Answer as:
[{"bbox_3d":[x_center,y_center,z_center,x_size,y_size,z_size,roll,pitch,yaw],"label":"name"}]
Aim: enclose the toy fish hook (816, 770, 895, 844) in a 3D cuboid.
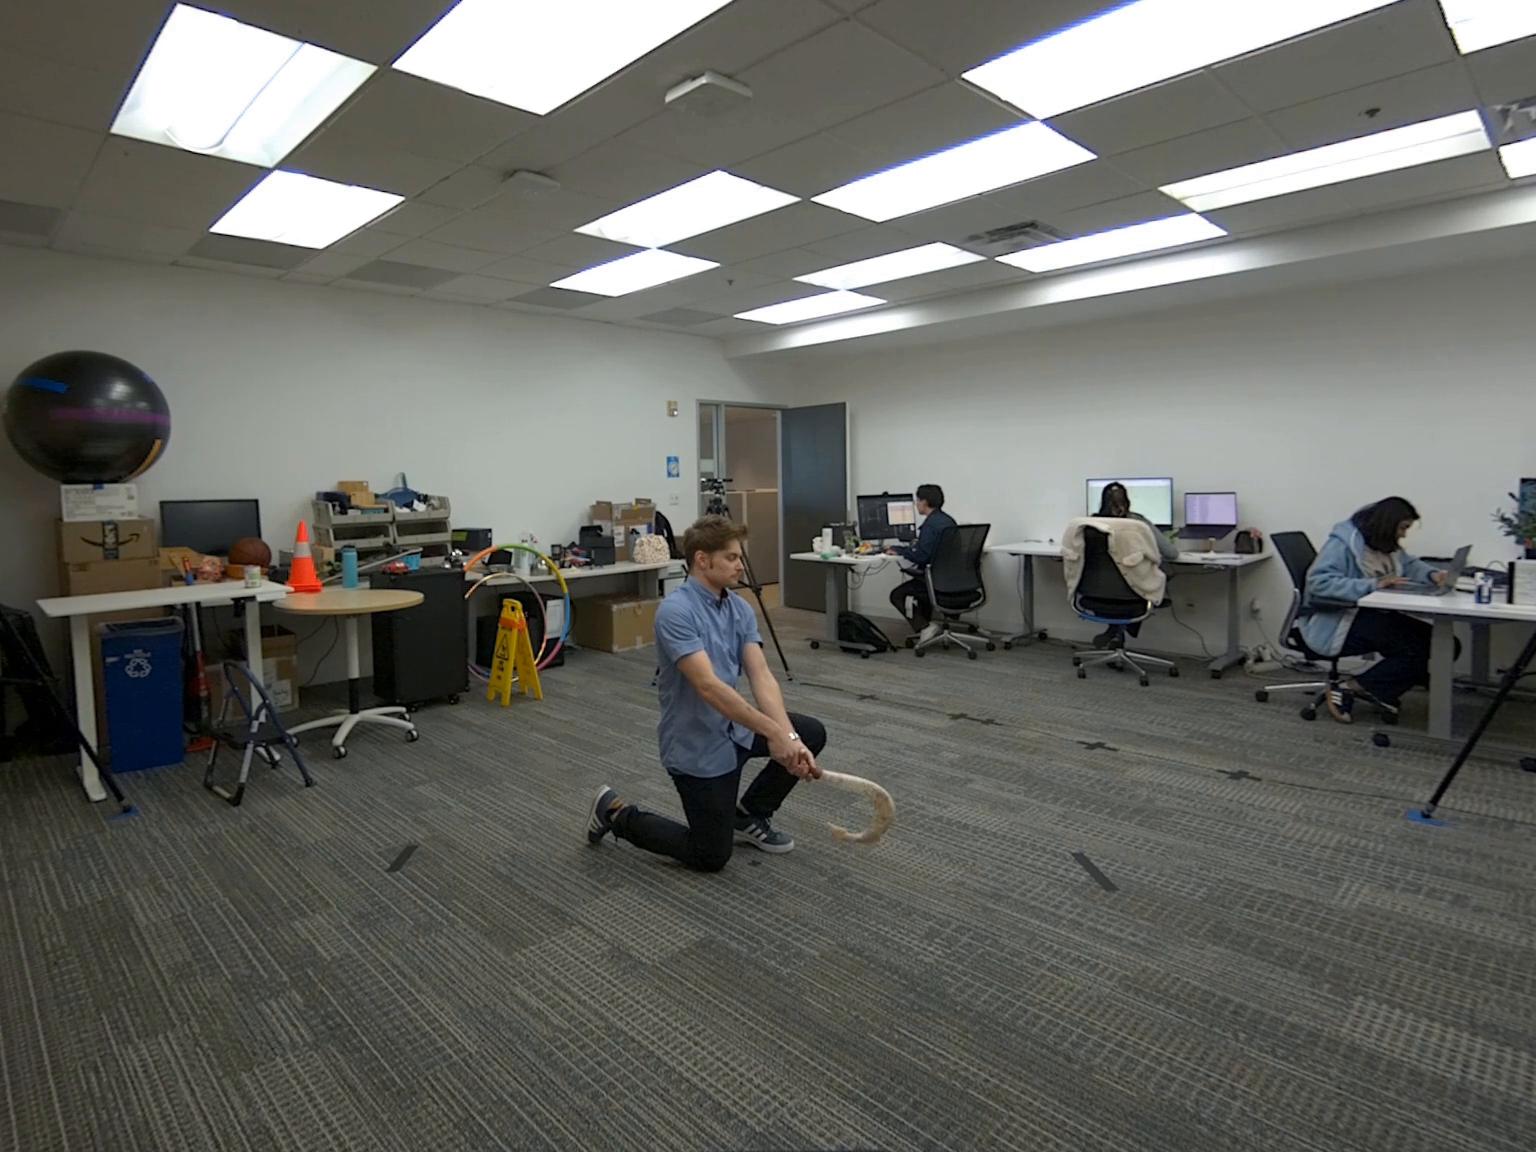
[{"bbox_3d":[0.216,0.700,2.851,0.505,0.225,0.048,30,-6,-3],"label":"toy fish hook"}]
